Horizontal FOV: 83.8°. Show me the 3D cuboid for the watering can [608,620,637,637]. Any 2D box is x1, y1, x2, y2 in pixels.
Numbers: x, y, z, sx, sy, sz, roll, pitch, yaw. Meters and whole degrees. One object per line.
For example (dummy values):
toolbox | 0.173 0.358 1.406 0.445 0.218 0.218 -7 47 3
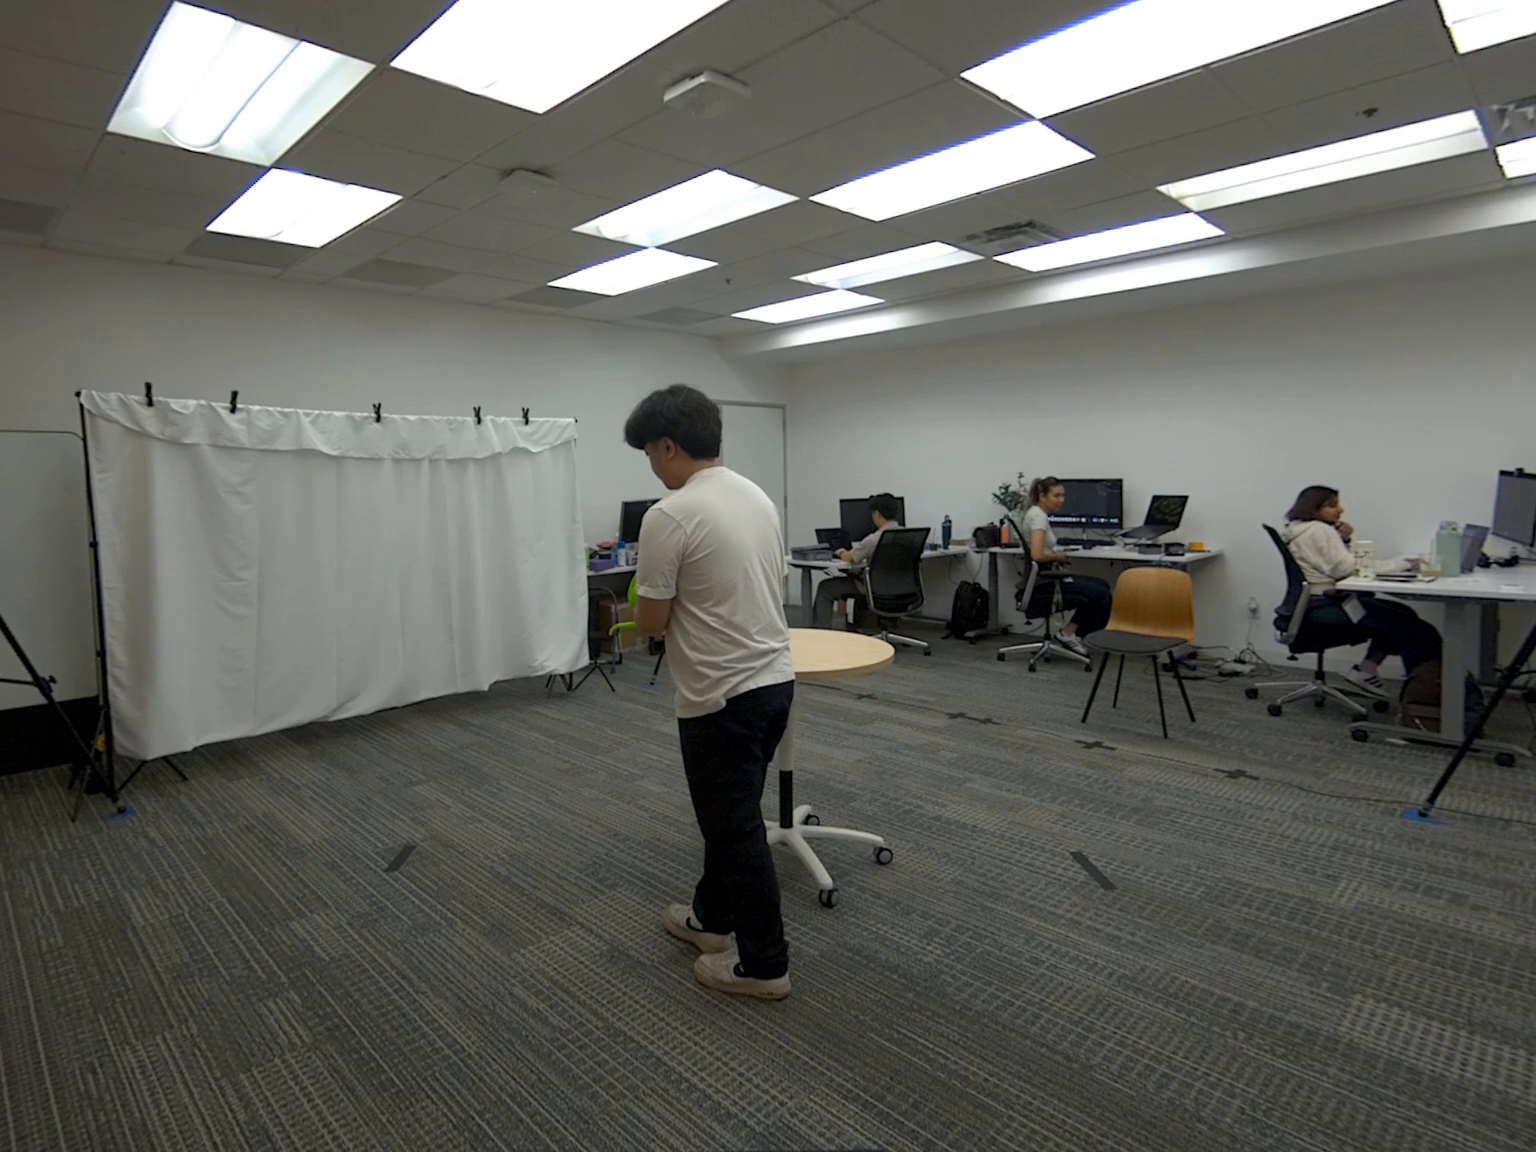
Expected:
watering can | -0.373 0.106 2.671 0.182 0.275 0.096 36 33 22
